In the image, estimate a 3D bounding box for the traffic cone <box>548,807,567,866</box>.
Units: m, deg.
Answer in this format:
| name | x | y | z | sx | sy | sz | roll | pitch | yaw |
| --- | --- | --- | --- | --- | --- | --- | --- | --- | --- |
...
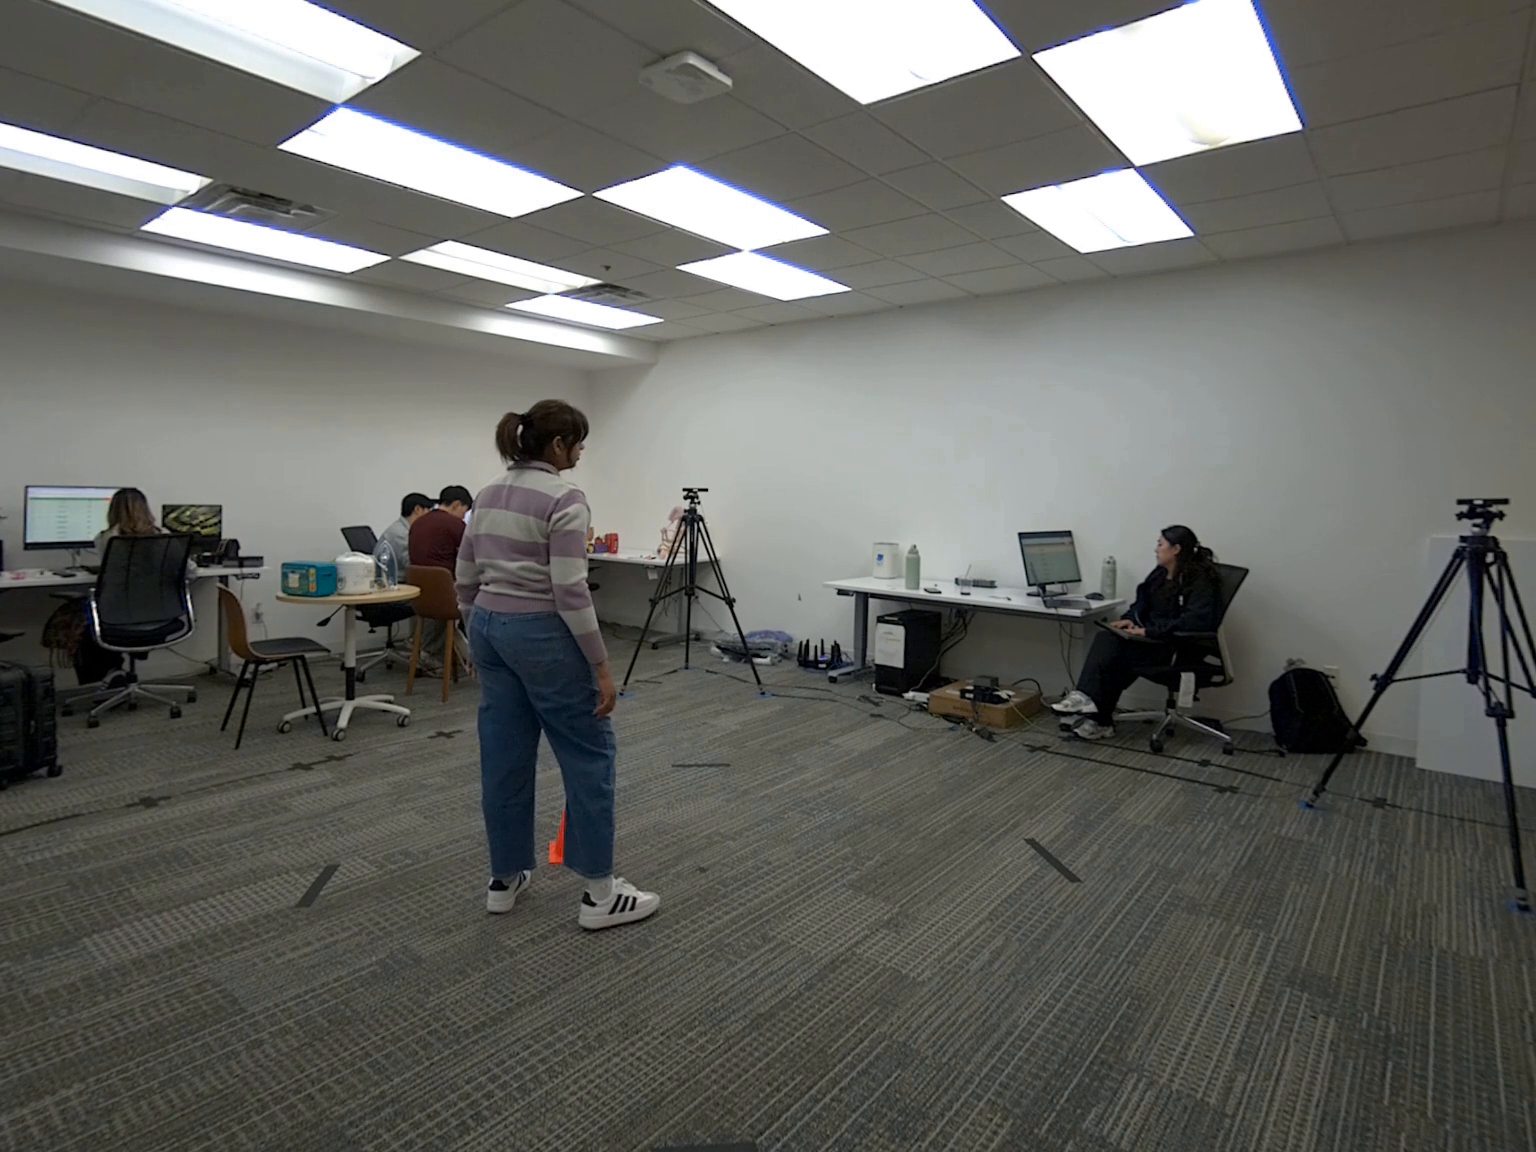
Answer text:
| name | x | y | z | sx | sy | sz | roll | pitch | yaw |
| --- | --- | --- | --- | --- | --- | --- | --- | --- | --- |
| traffic cone | -0.736 | 0.860 | 3.234 | 0.200 | 0.383 | 0.208 | 3 | 2 | -15 |
